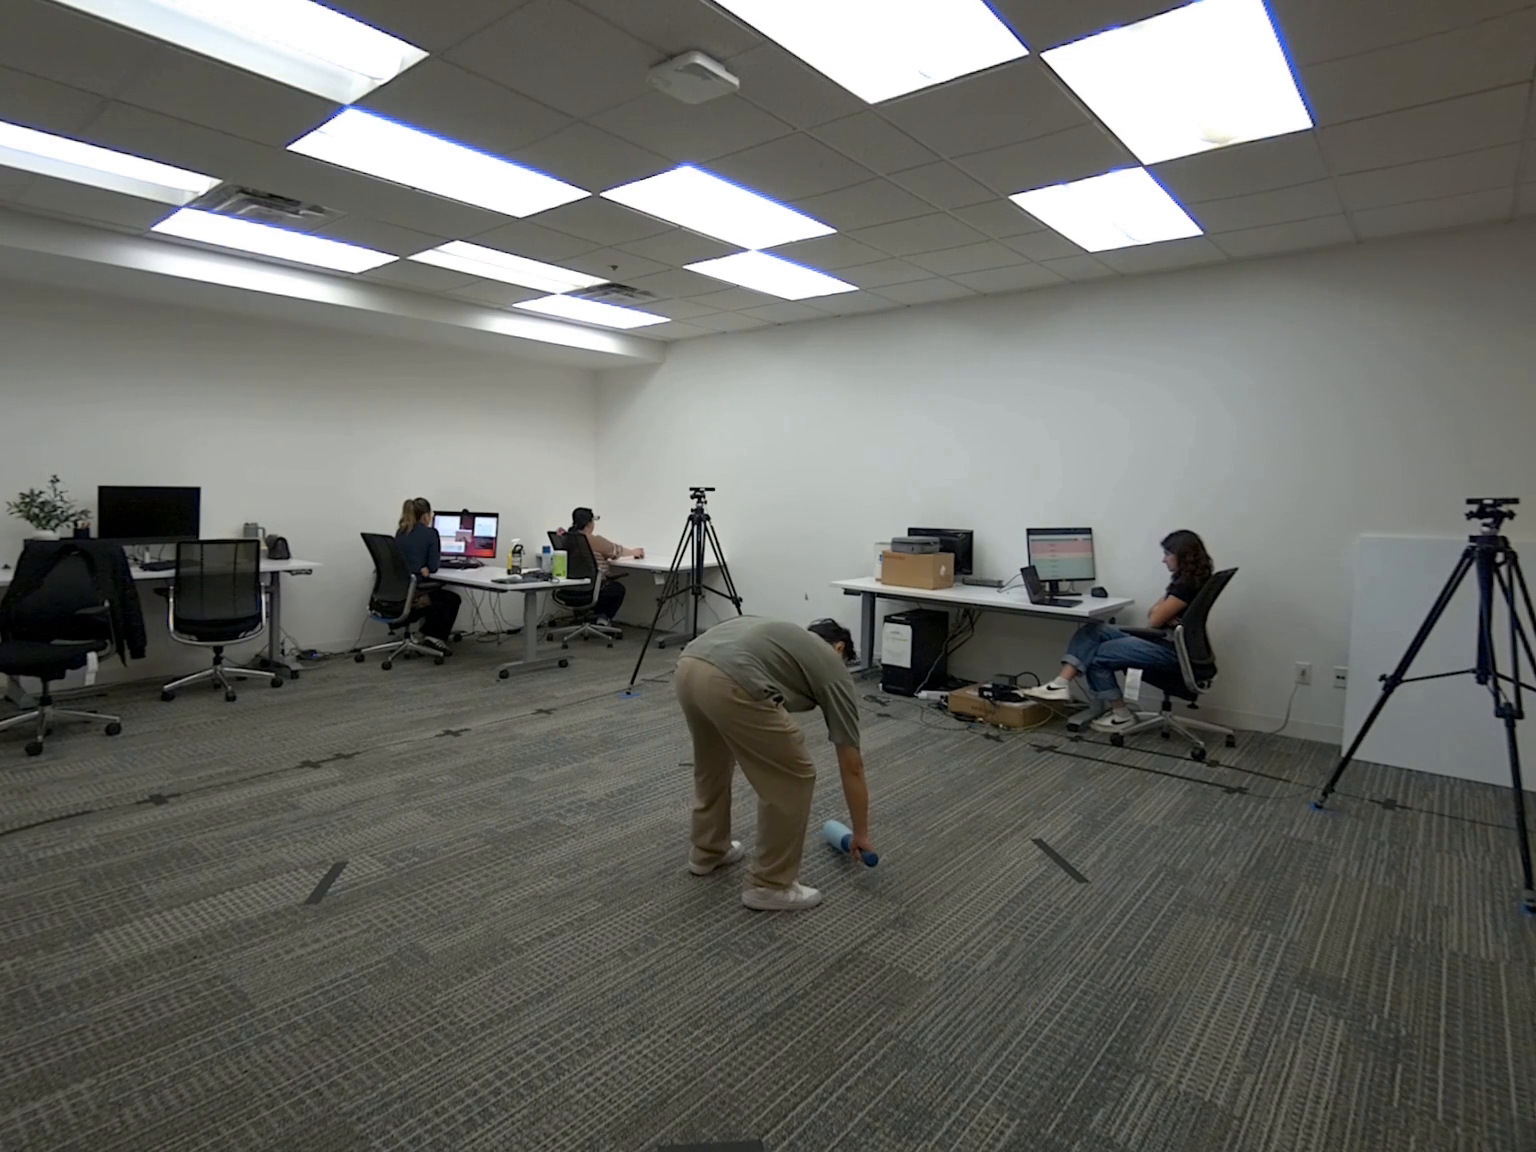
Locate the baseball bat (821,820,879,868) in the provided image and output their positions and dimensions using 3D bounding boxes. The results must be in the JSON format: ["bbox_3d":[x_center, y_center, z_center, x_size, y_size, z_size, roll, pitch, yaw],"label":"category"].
[{"bbox_3d":[0.293,0.987,3.125,0.088,0.089,0.545,1,-4,-11],"label":"baseball bat"}]
